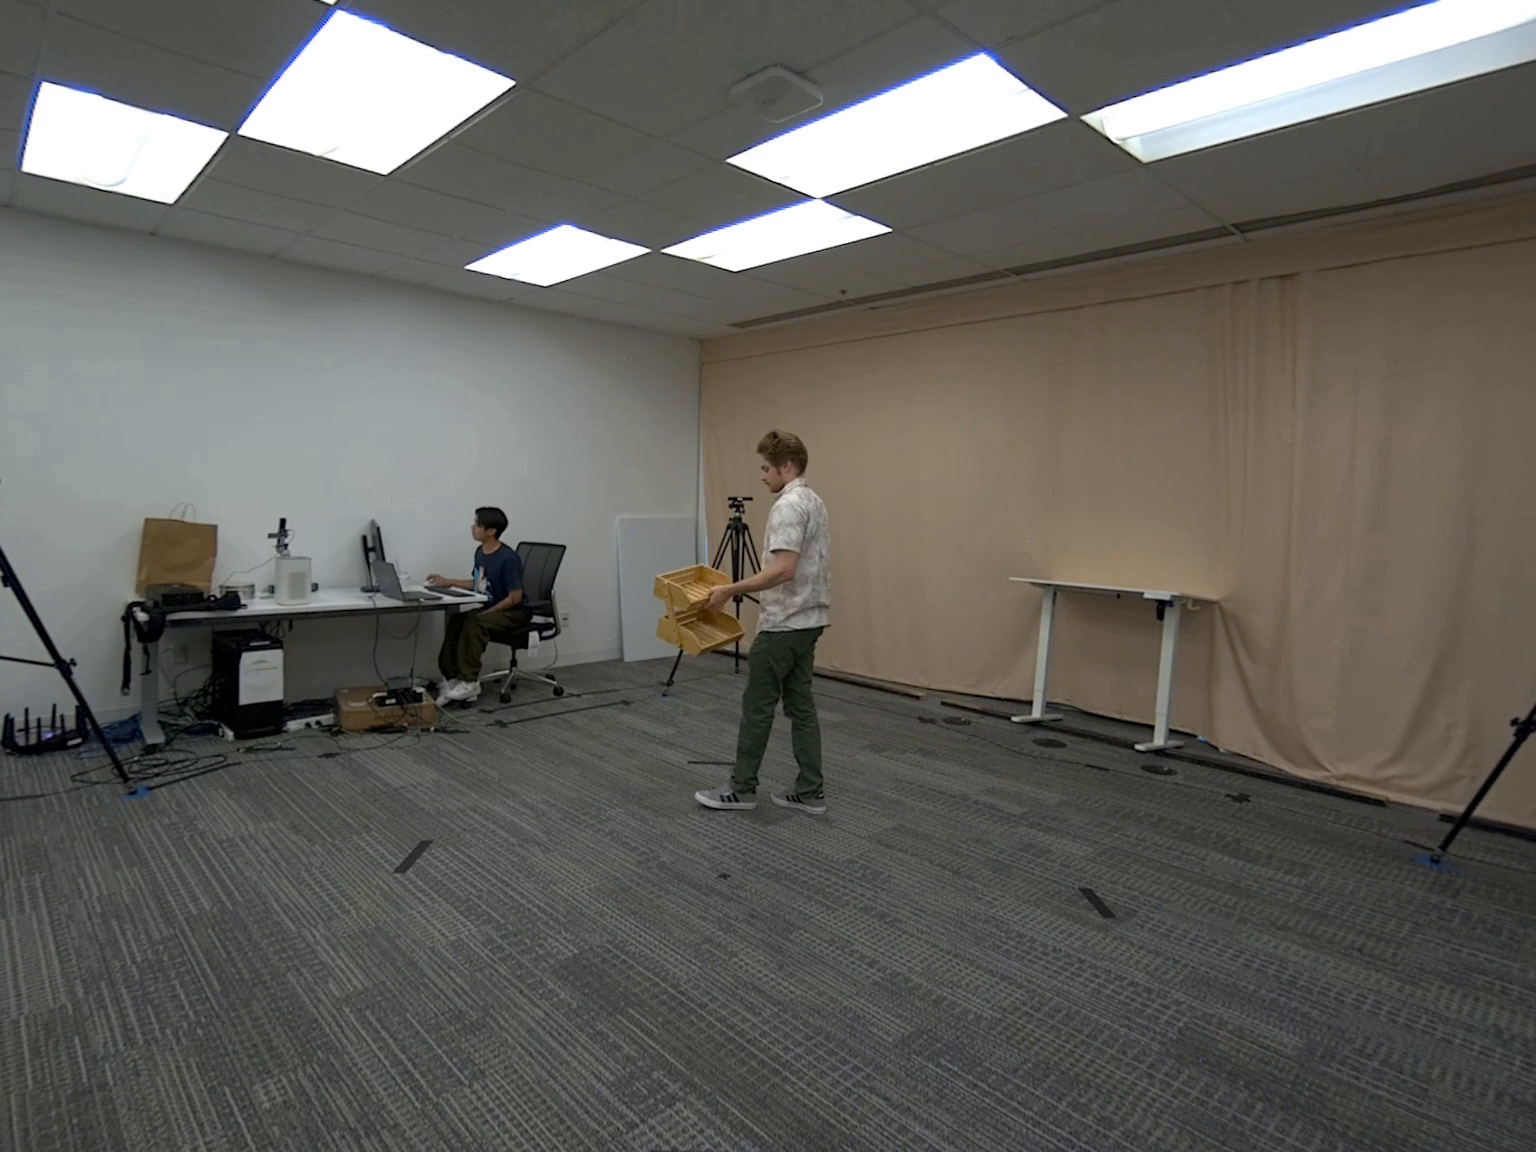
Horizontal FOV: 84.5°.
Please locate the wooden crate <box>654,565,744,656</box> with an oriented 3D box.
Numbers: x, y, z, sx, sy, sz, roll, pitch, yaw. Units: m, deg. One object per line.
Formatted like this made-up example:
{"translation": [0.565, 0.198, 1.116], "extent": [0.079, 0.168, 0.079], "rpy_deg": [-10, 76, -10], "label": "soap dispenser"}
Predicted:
{"translation": [-0.300, 0.139, 3.617], "extent": [0.310, 0.270, 0.319], "rpy_deg": [23, 23, 32], "label": "wooden crate"}
